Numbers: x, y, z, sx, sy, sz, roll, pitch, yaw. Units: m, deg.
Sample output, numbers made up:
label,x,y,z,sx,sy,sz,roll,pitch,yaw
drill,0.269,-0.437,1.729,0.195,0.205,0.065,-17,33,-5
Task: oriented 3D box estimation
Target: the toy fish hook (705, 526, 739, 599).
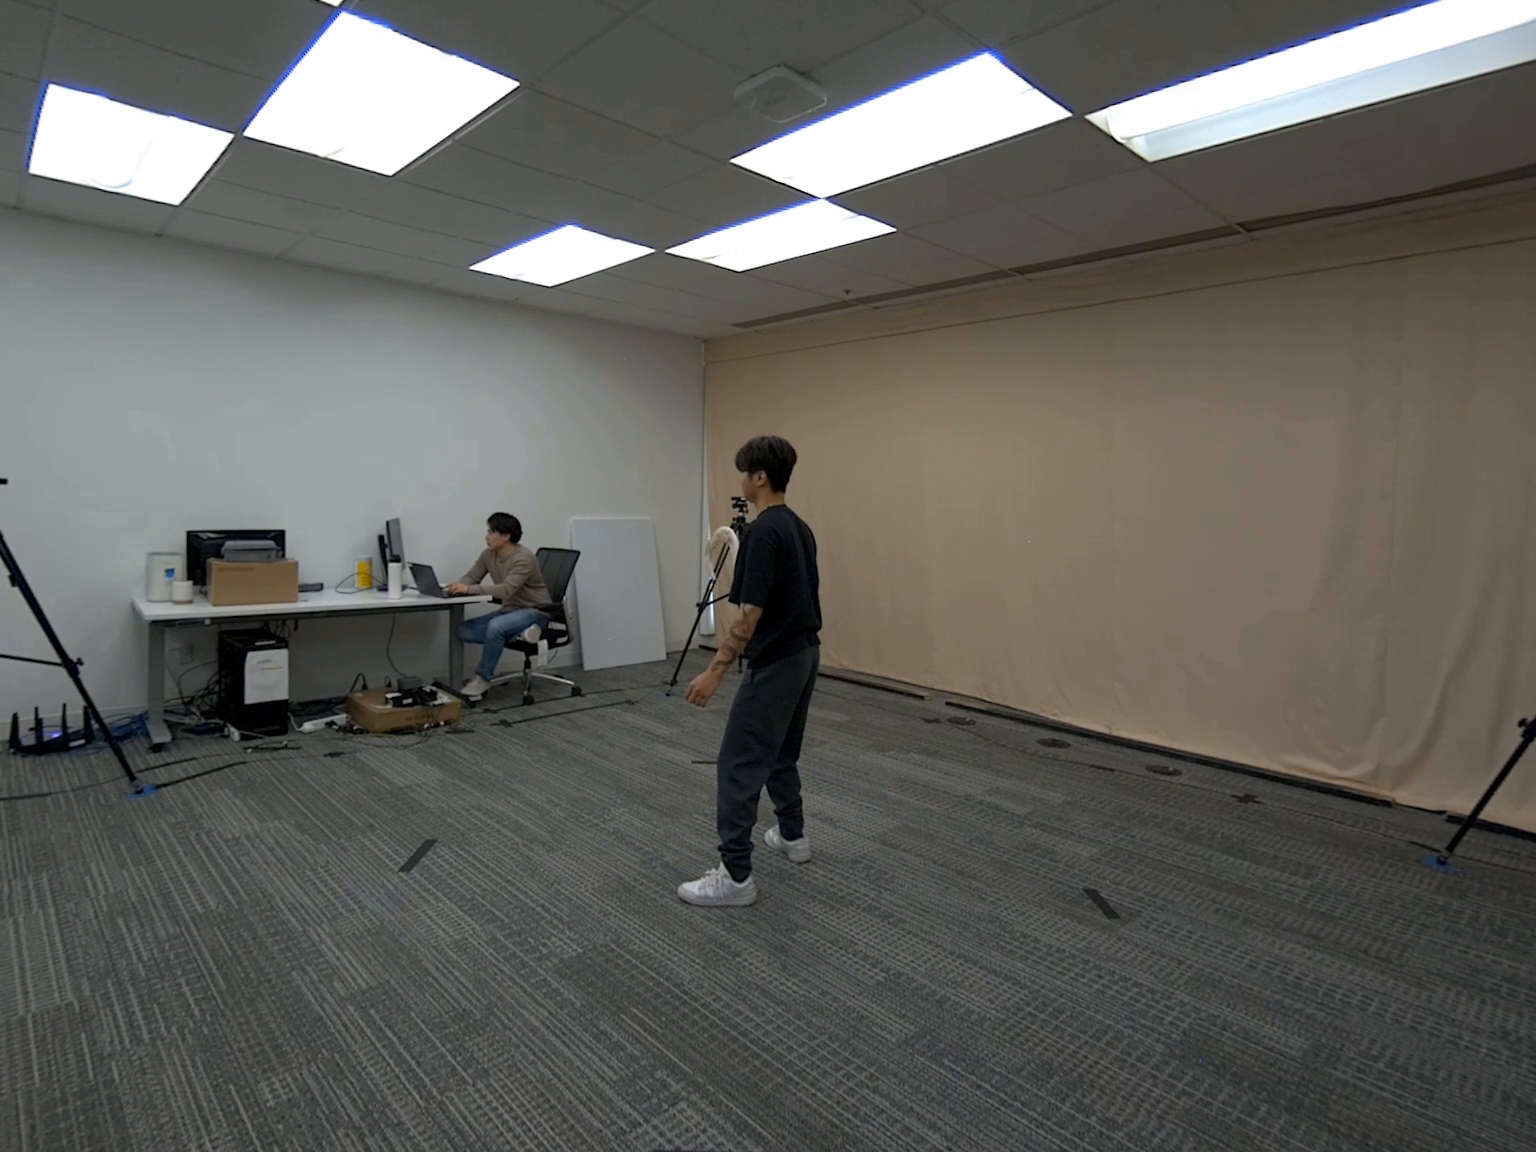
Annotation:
label,x,y,z,sx,sy,sz,roll,pitch,yaw
toy fish hook,-0.180,0.019,3.619,0.047,0.519,0.225,8,-40,-38
